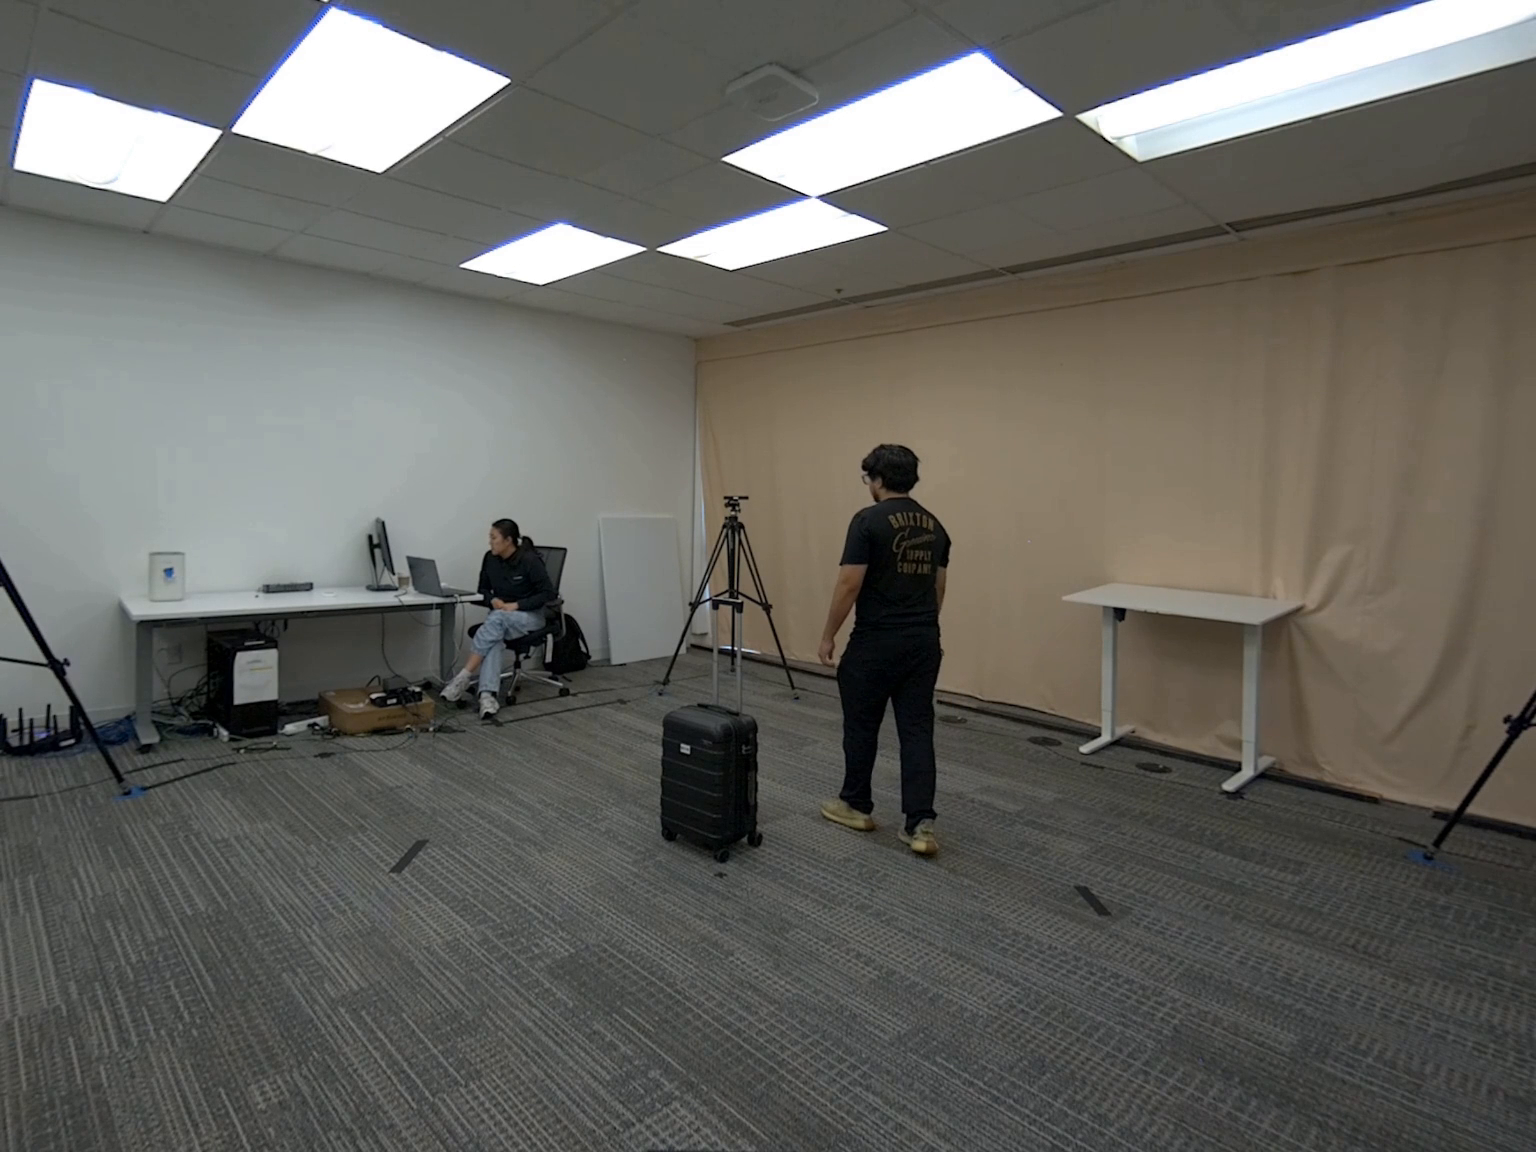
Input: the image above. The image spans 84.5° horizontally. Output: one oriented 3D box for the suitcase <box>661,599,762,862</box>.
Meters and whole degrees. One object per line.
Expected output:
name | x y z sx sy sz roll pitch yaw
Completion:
suitcase | -0.238 0.601 3.353 0.393 0.974 0.252 4 7 40
